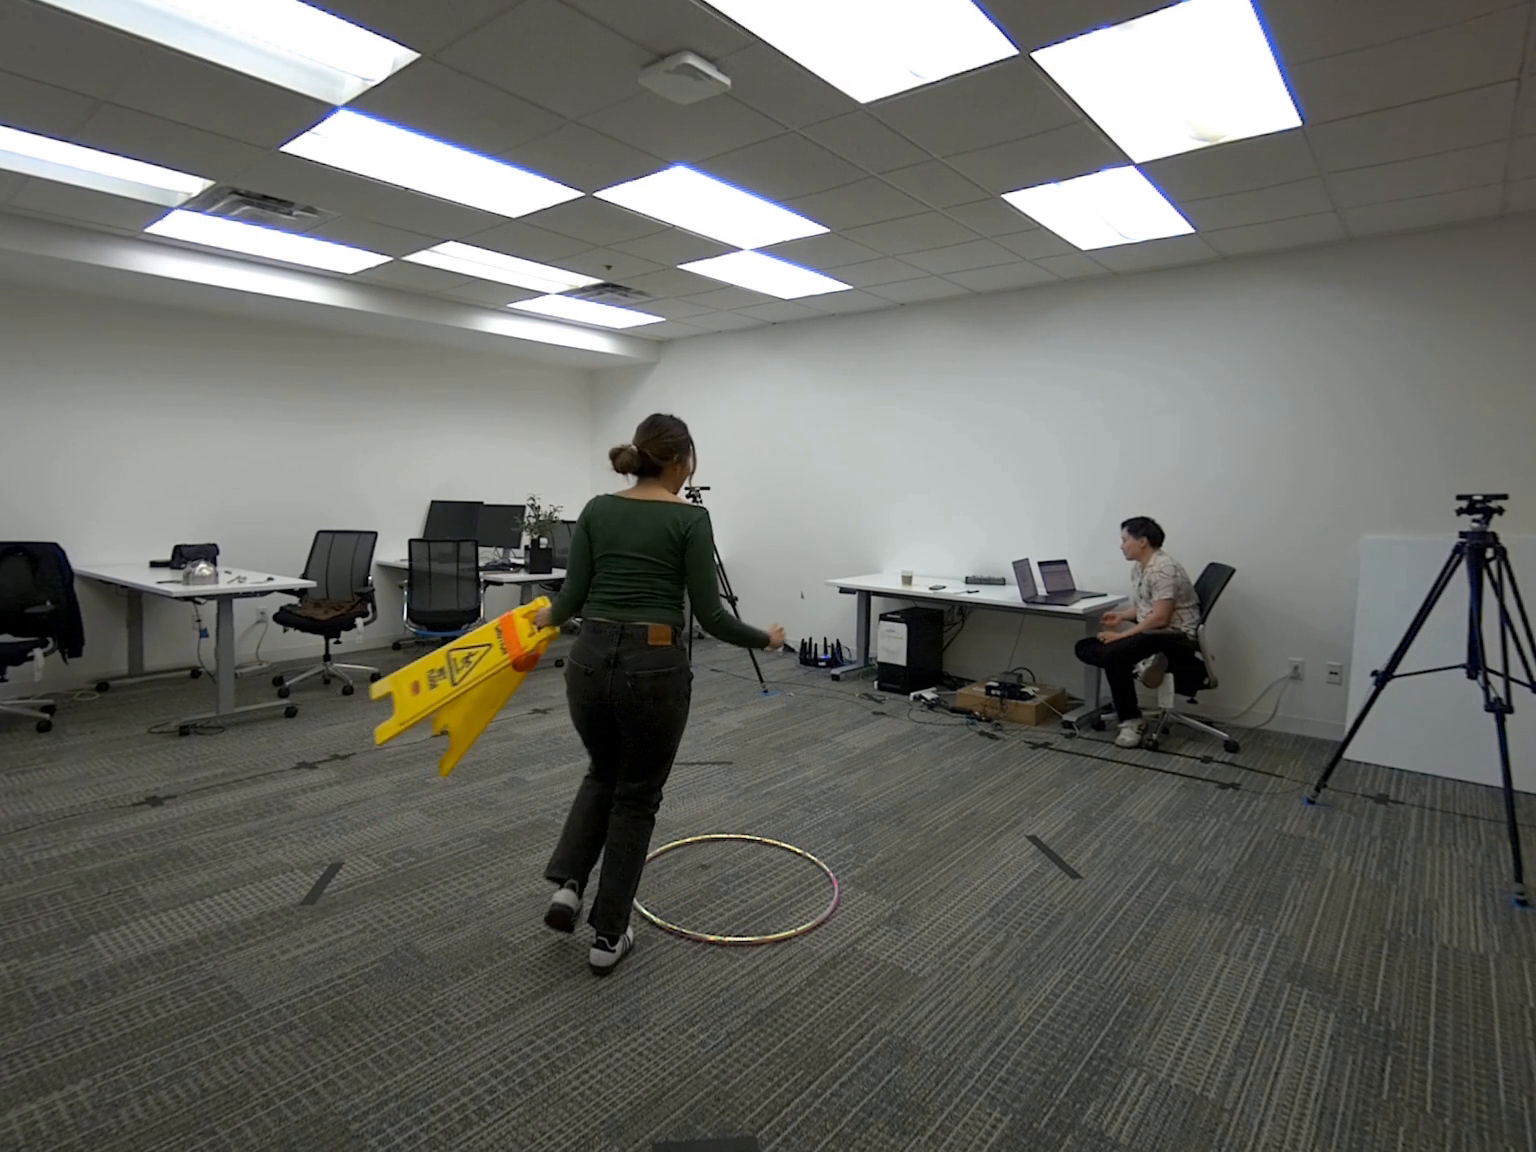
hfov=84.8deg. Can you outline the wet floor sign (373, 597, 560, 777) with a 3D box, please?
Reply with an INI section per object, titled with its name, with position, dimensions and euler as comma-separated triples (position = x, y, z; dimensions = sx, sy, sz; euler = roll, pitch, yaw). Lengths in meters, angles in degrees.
[wet floor sign]
position = -0.934, 0.318, 2.823
dimensions = 0.277, 0.646, 0.294
euler = 47, 6, -43
